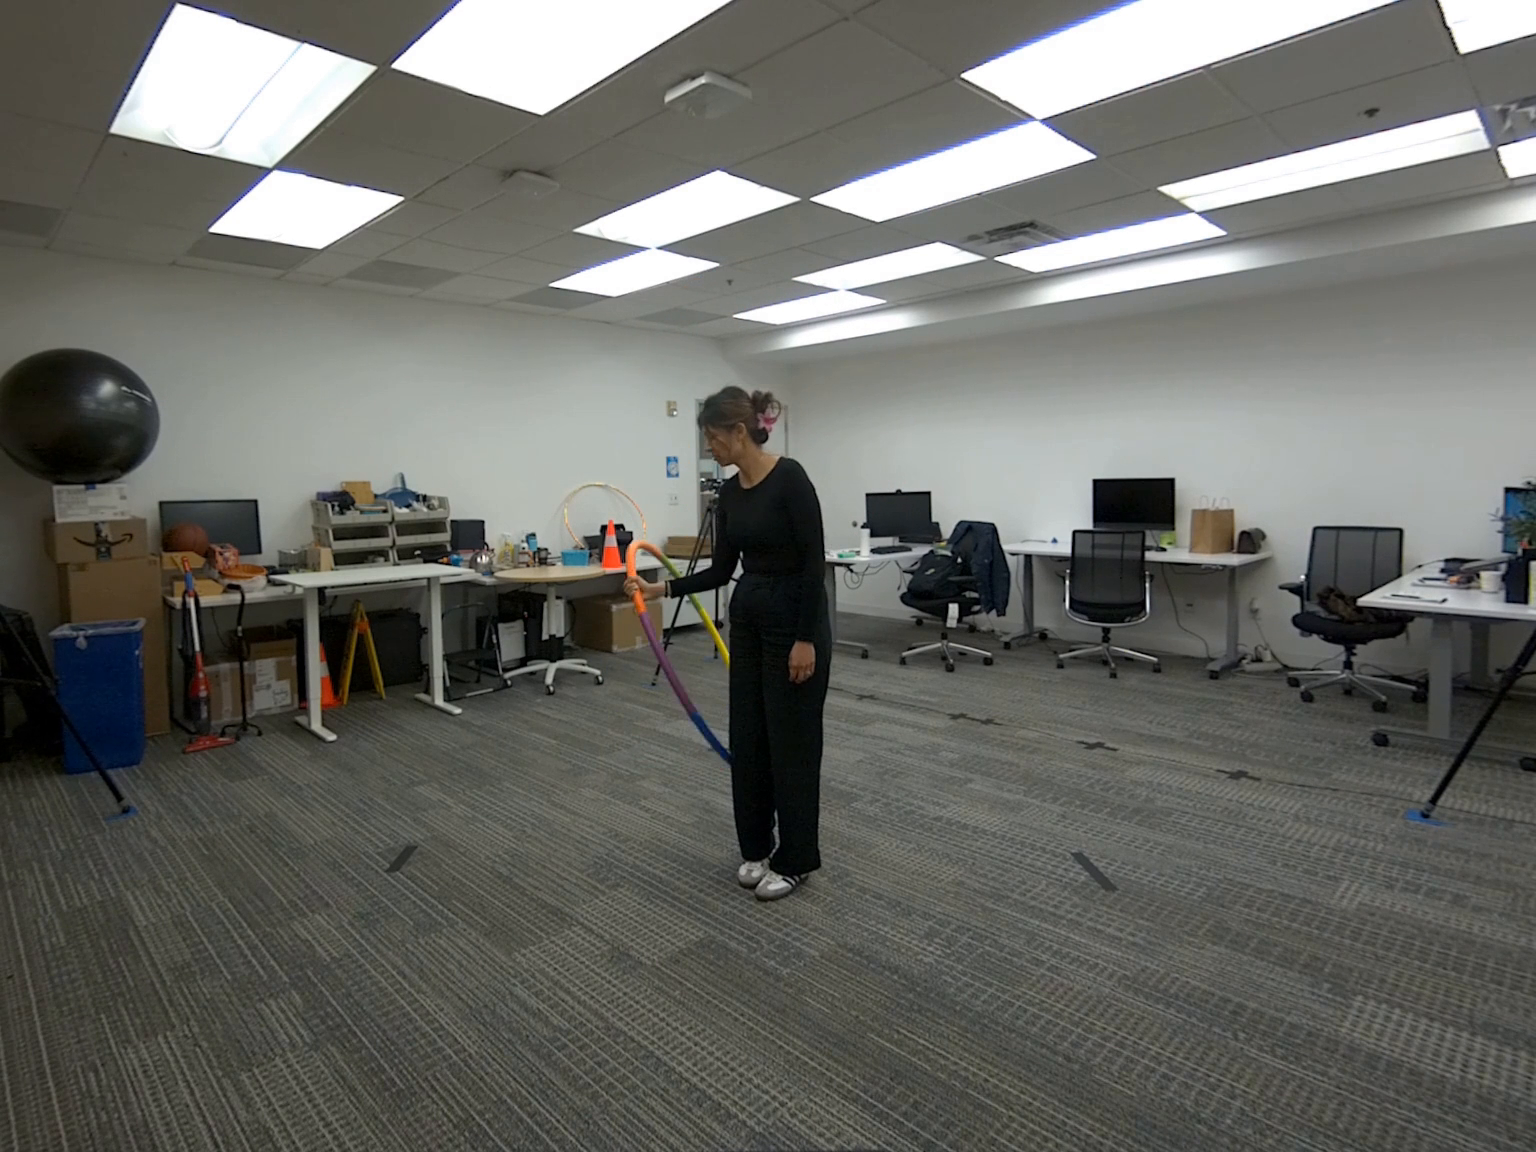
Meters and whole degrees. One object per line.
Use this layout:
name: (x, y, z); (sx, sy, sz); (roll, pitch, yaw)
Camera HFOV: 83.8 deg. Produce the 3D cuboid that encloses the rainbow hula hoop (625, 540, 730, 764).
rainbow hula hoop: (-0.296, 0.302, 3.334); (0.052, 0.986, 0.981); (-27, 1, 8)
